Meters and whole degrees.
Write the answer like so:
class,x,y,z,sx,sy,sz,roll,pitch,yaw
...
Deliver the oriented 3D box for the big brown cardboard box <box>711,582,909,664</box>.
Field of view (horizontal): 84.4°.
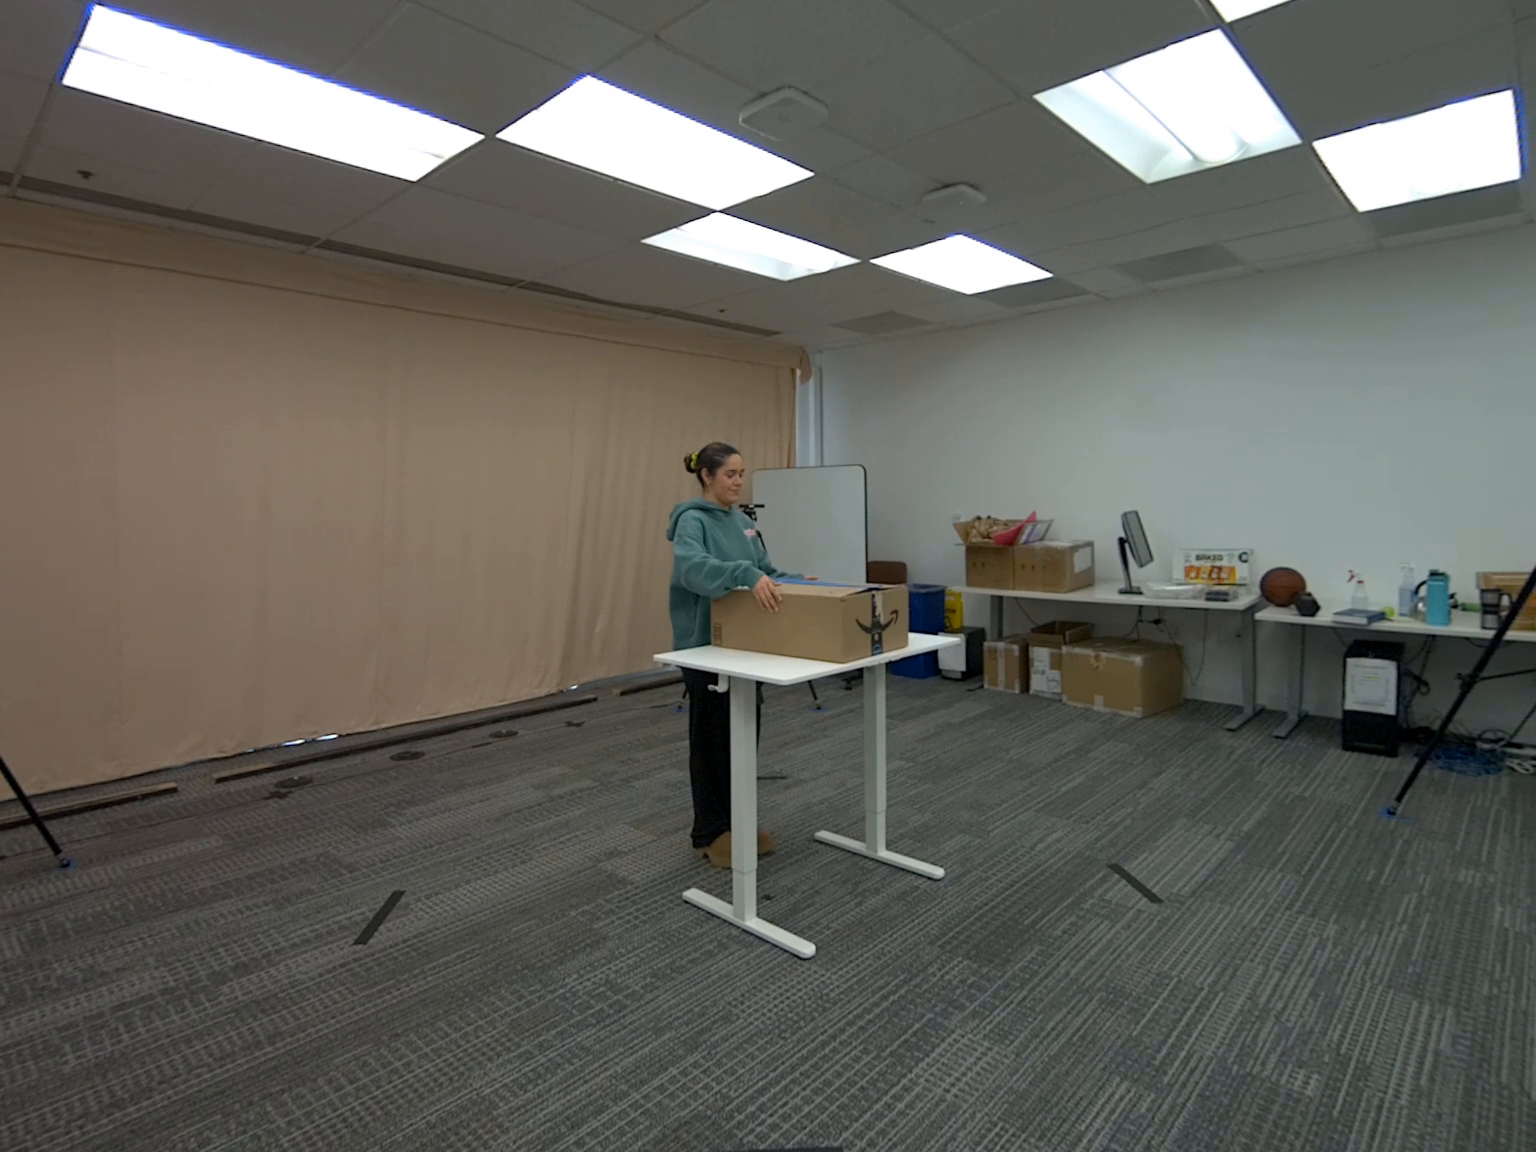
class,x,y,z,sx,sy,sz,roll,pitch,yaw
big brown cardboard box,0.144,0.143,3.000,0.608,0.232,0.405,4,6,39
